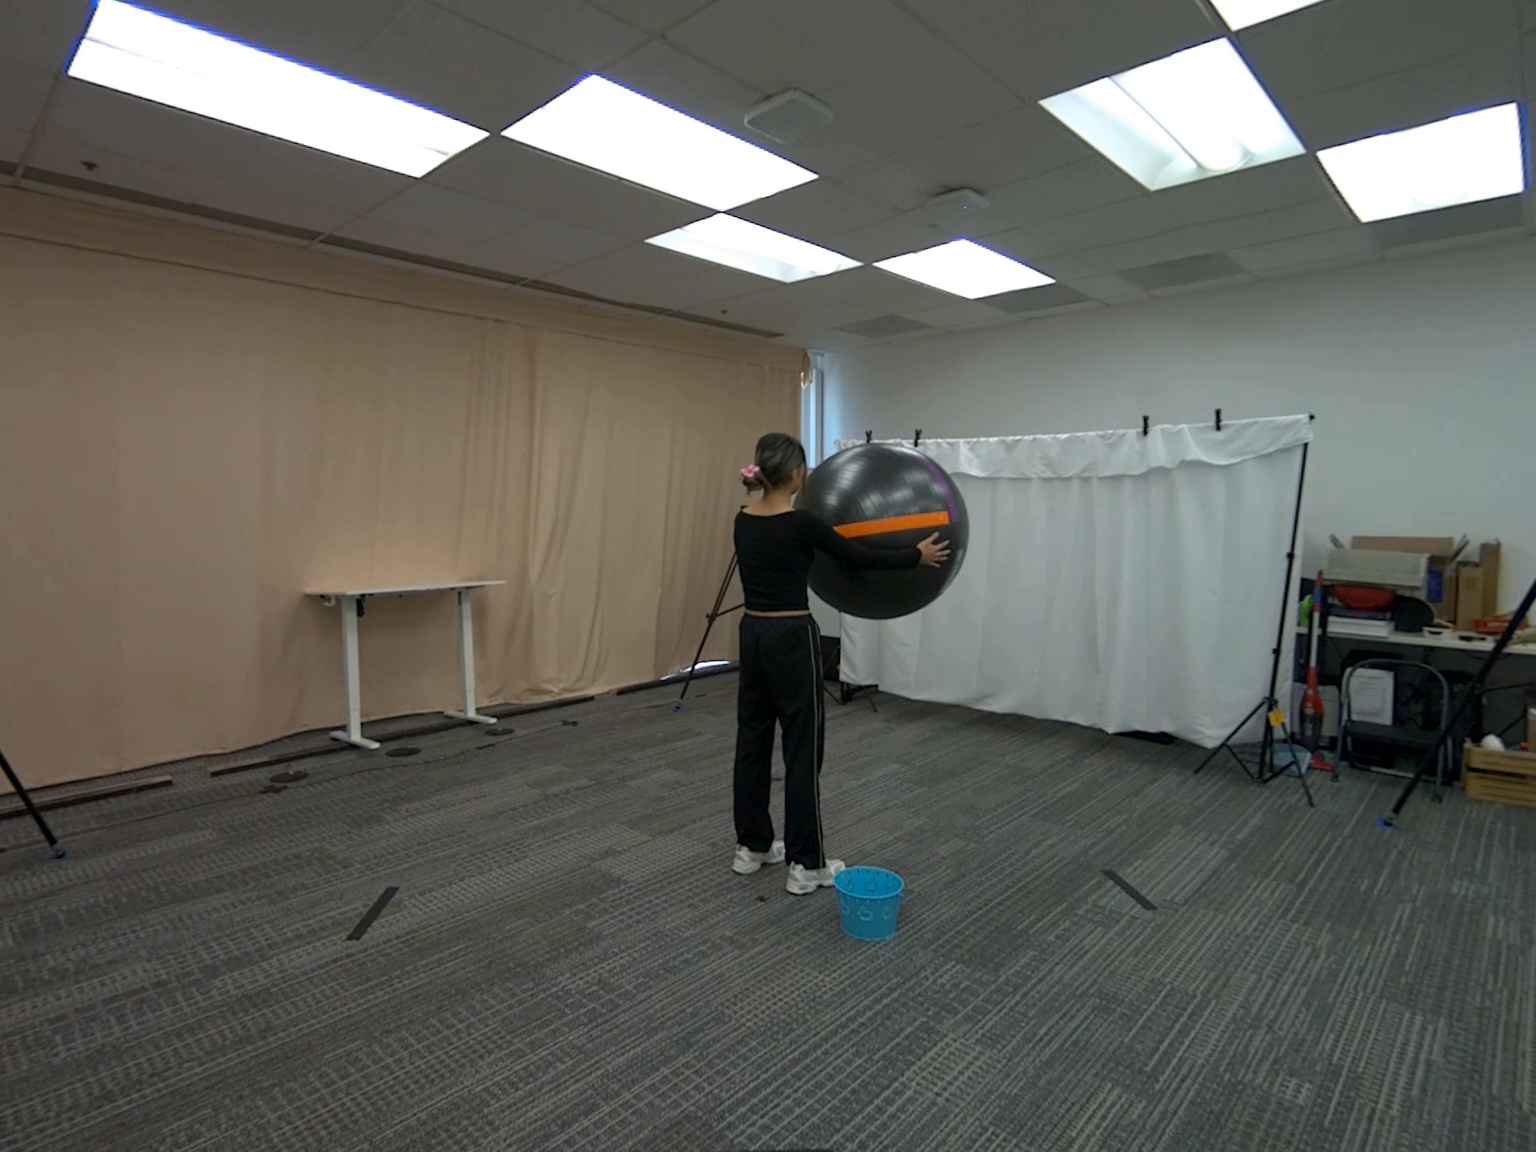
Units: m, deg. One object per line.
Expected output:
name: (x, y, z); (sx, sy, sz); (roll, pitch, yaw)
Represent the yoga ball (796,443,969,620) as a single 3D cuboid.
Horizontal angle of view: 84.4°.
yoga ball: (0.479, -0.186, 3.623); (0.757, 0.756, 0.760); (0, 4, -2)
